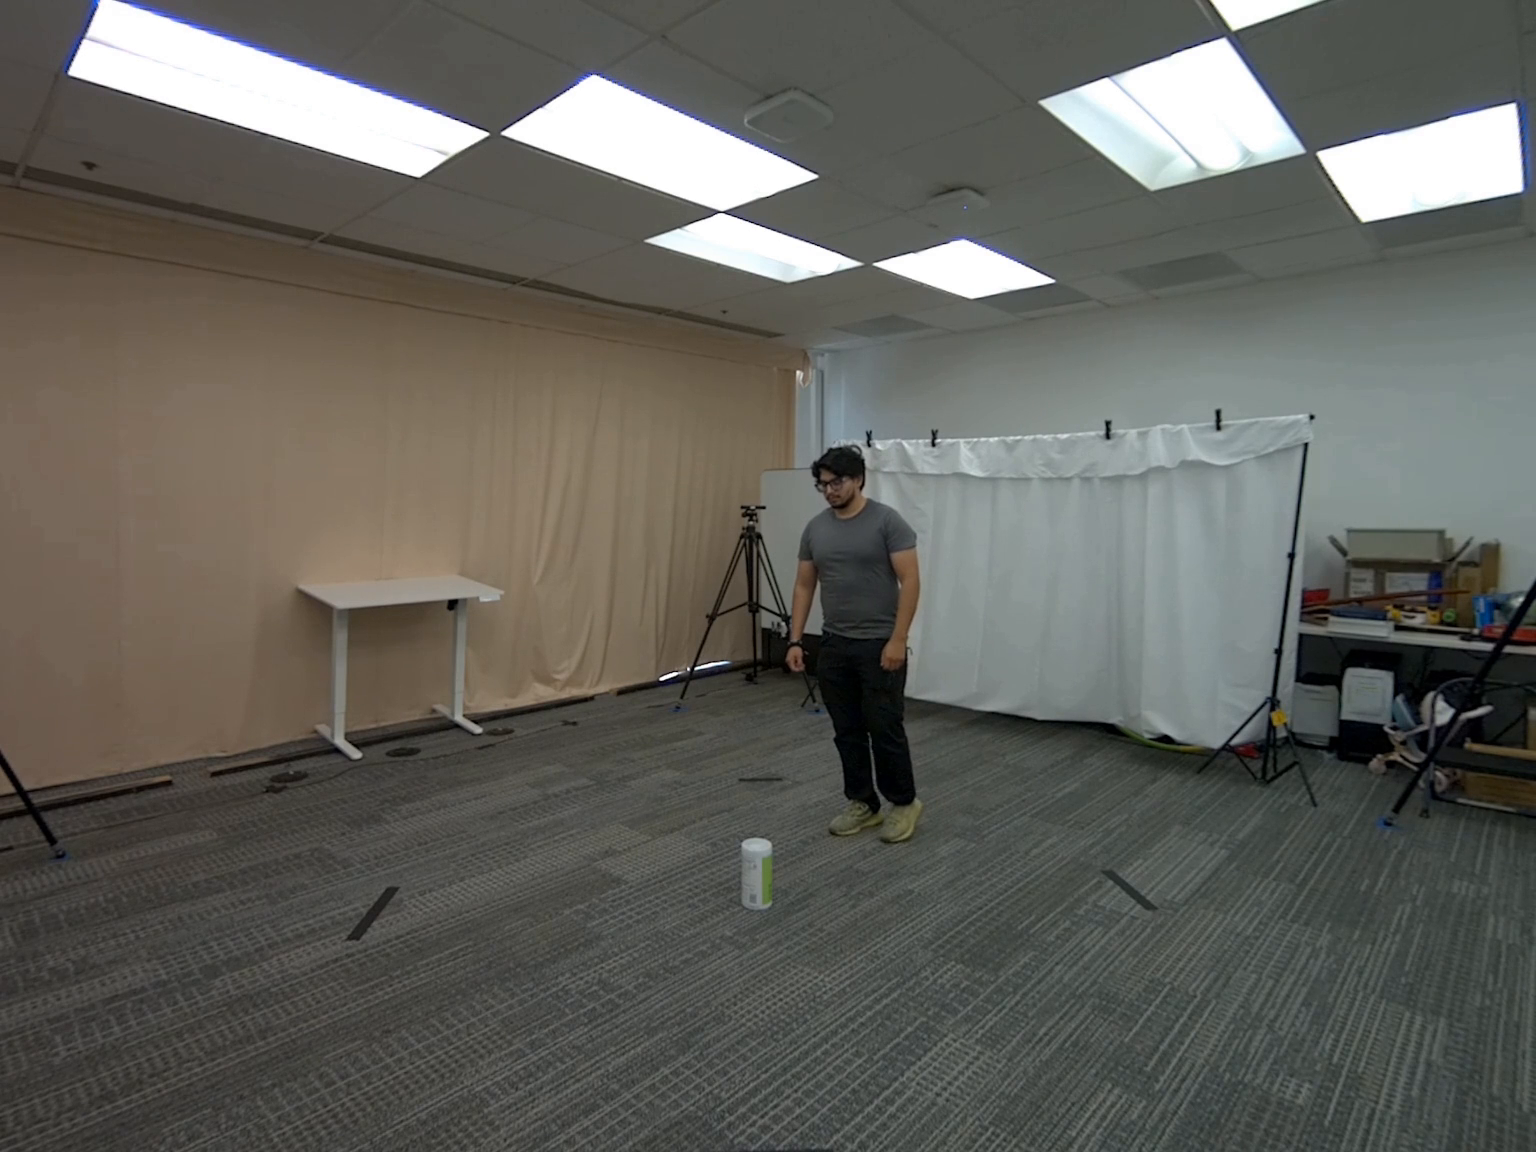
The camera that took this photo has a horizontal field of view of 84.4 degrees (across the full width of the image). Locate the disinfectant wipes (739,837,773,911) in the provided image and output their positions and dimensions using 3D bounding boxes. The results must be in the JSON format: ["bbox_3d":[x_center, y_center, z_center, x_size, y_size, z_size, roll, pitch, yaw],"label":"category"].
[{"bbox_3d":[-0.037,1.039,2.935,0.118,0.217,0.118,0,4,-2],"label":"disinfectant wipes"}]
